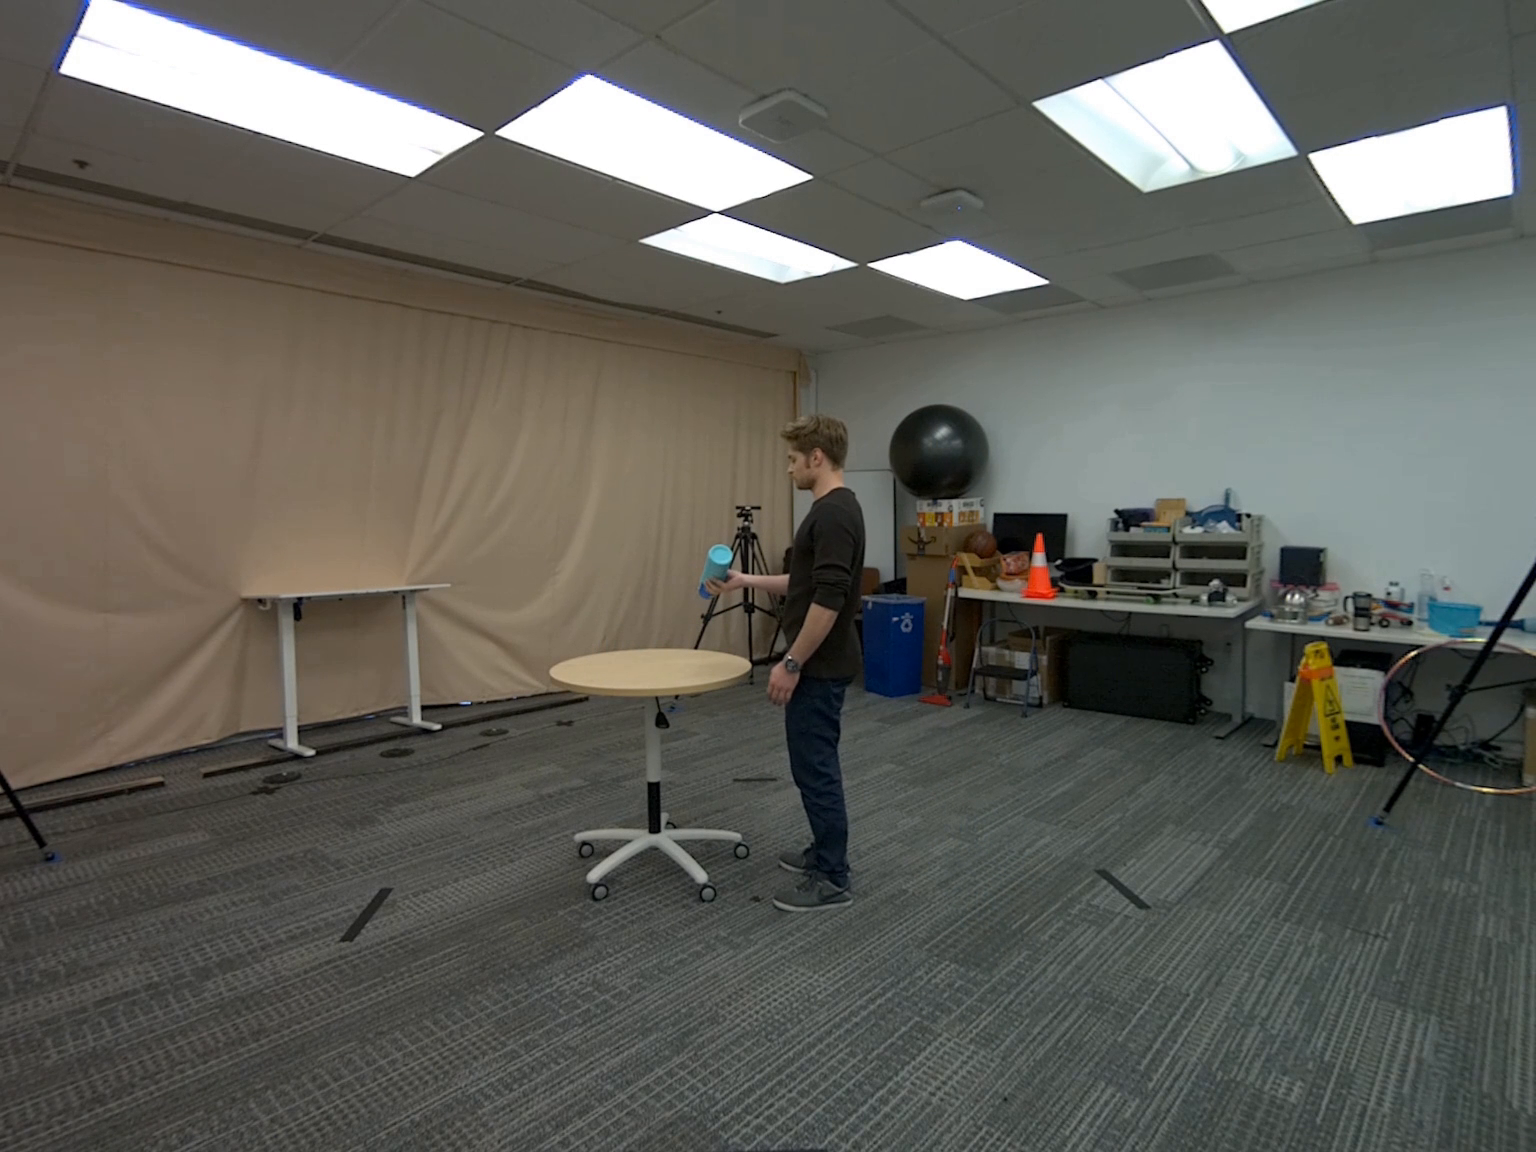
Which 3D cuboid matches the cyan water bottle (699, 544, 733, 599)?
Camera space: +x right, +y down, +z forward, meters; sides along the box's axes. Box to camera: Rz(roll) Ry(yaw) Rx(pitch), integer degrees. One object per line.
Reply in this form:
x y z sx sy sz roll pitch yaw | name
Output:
-0.202 -0.008 3.189 0.091 0.094 0.282 0 -30 -16 | cyan water bottle
